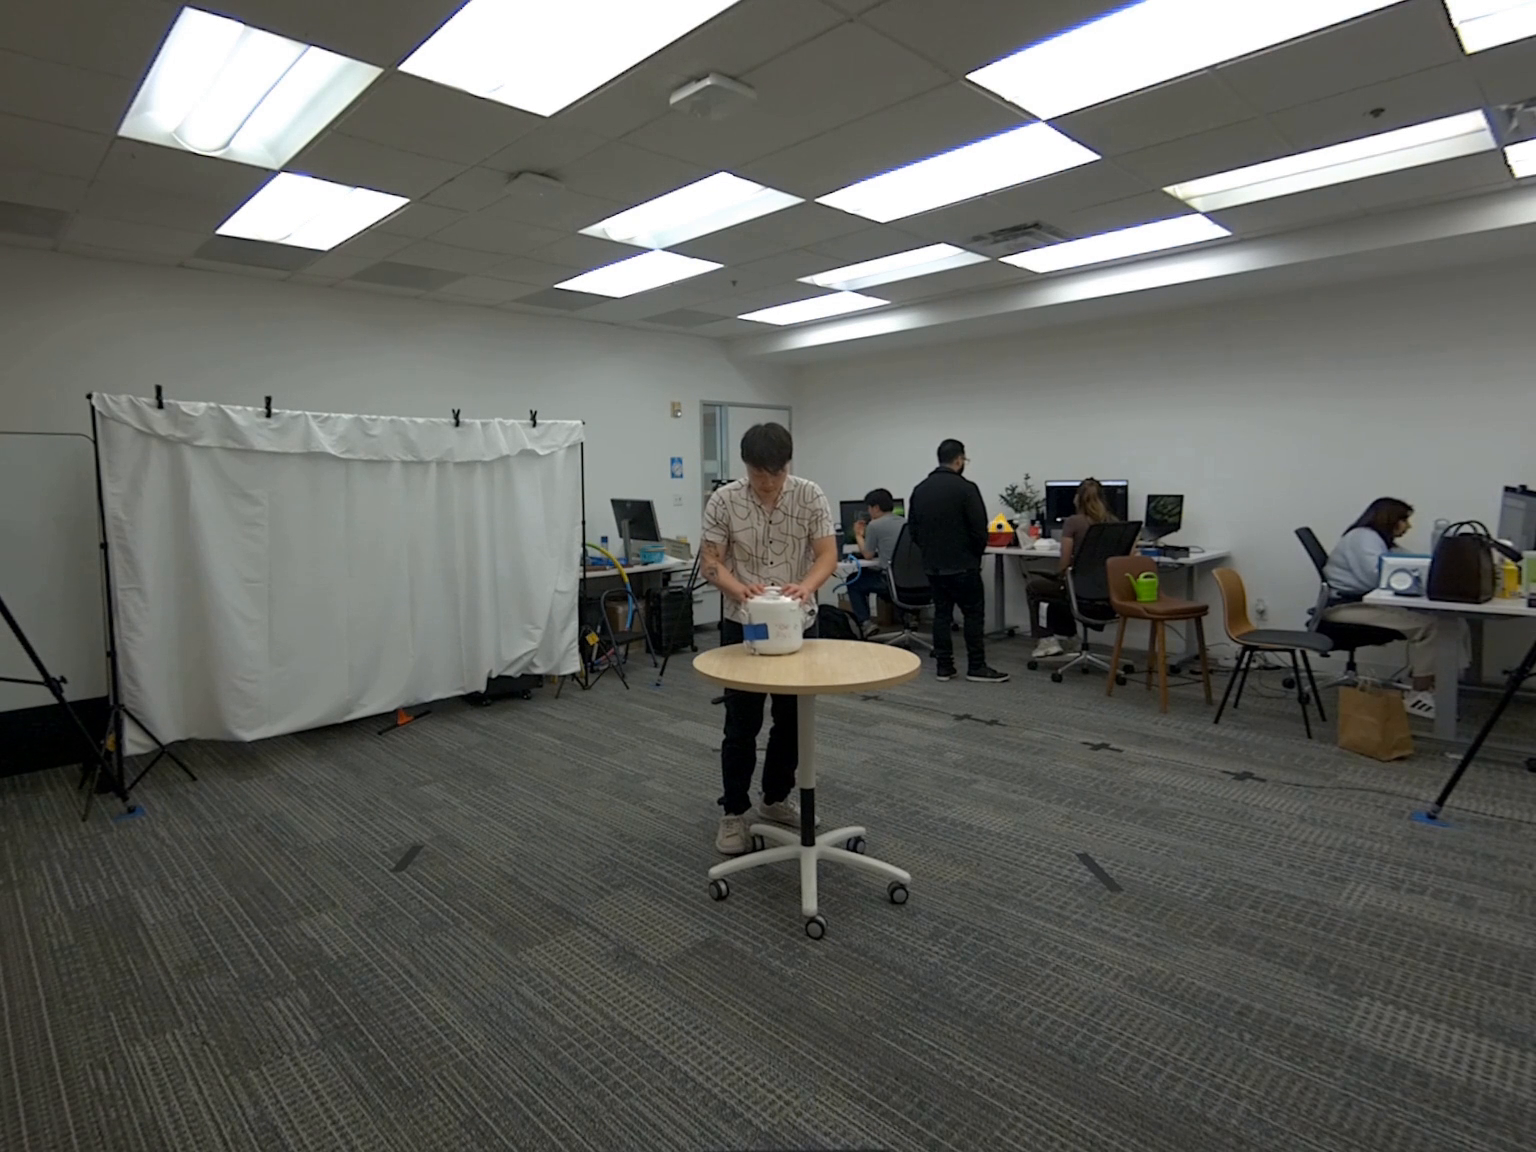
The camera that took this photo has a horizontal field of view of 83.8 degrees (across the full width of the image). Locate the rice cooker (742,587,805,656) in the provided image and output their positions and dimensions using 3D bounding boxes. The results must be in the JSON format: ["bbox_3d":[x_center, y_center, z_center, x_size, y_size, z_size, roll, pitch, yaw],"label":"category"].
[{"bbox_3d":[0.012,0.157,3.058,0.223,0.232,0.216,0,5,10],"label":"rice cooker"}]
